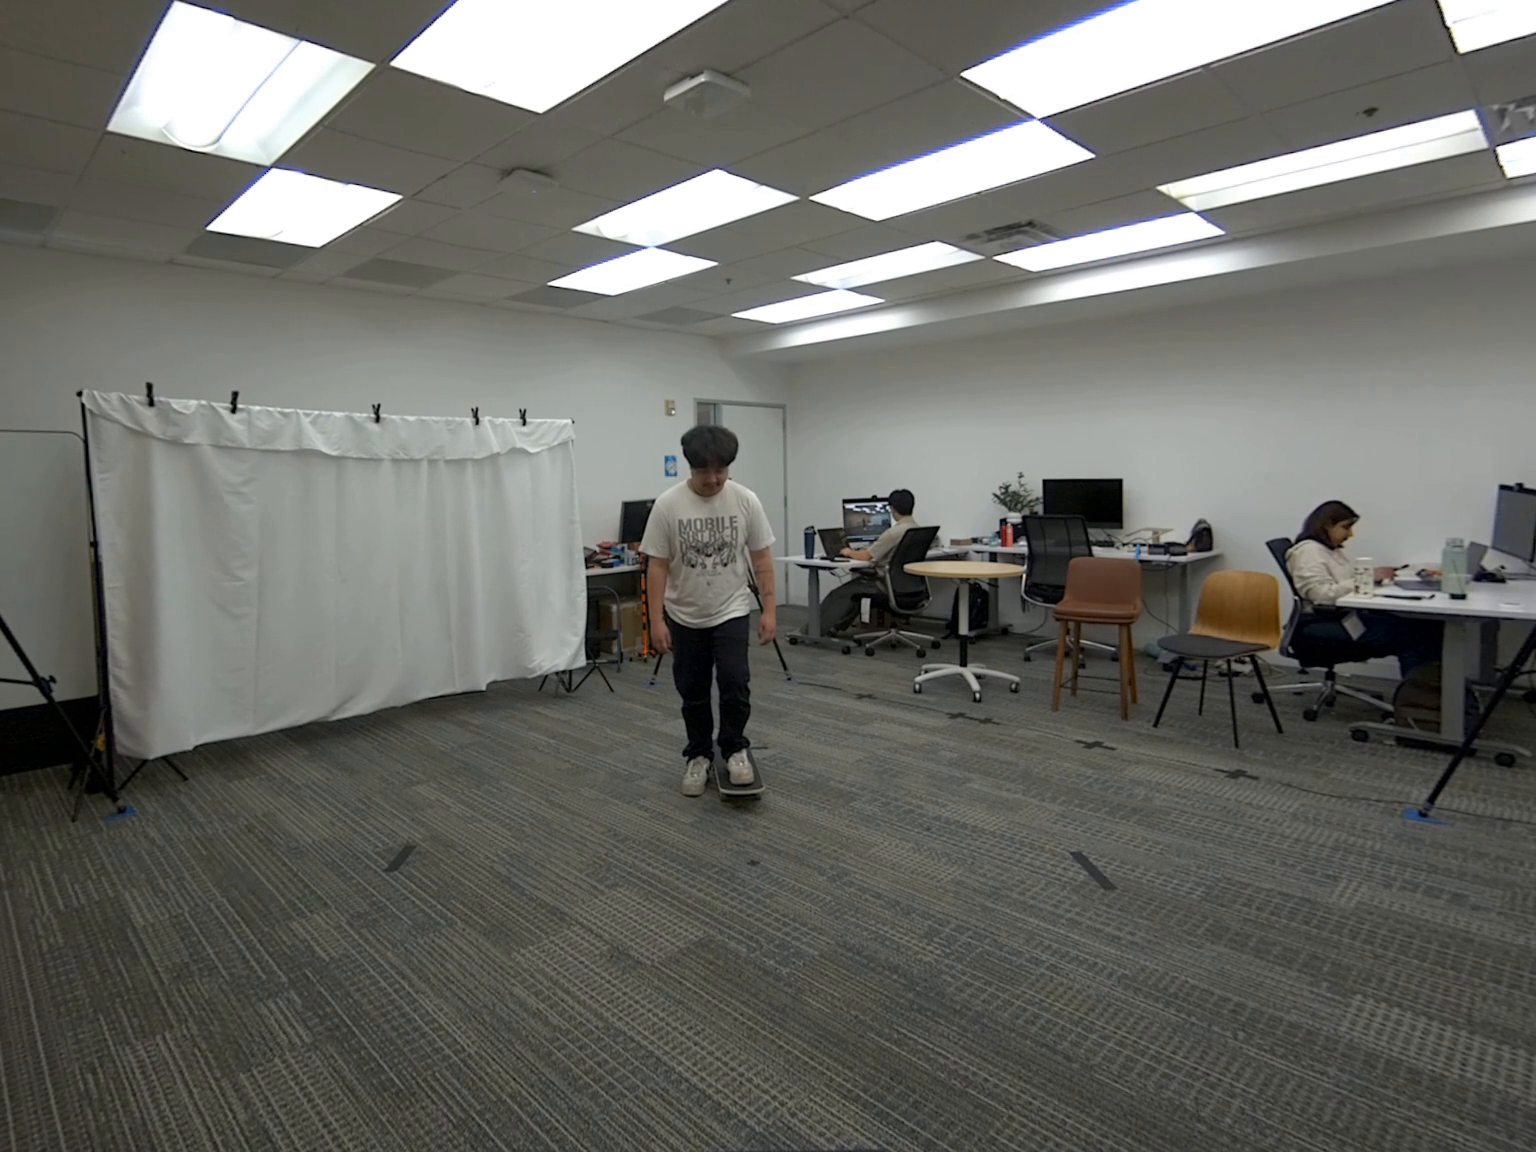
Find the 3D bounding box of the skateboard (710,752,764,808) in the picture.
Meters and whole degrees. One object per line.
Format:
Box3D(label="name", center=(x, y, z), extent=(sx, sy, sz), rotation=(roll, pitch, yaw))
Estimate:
Box3D(label="skateboard", center=(-0.148, 0.896, 3.913), extent=(0.192, 0.110, 0.794), rotation=(-3, 7, -7))
